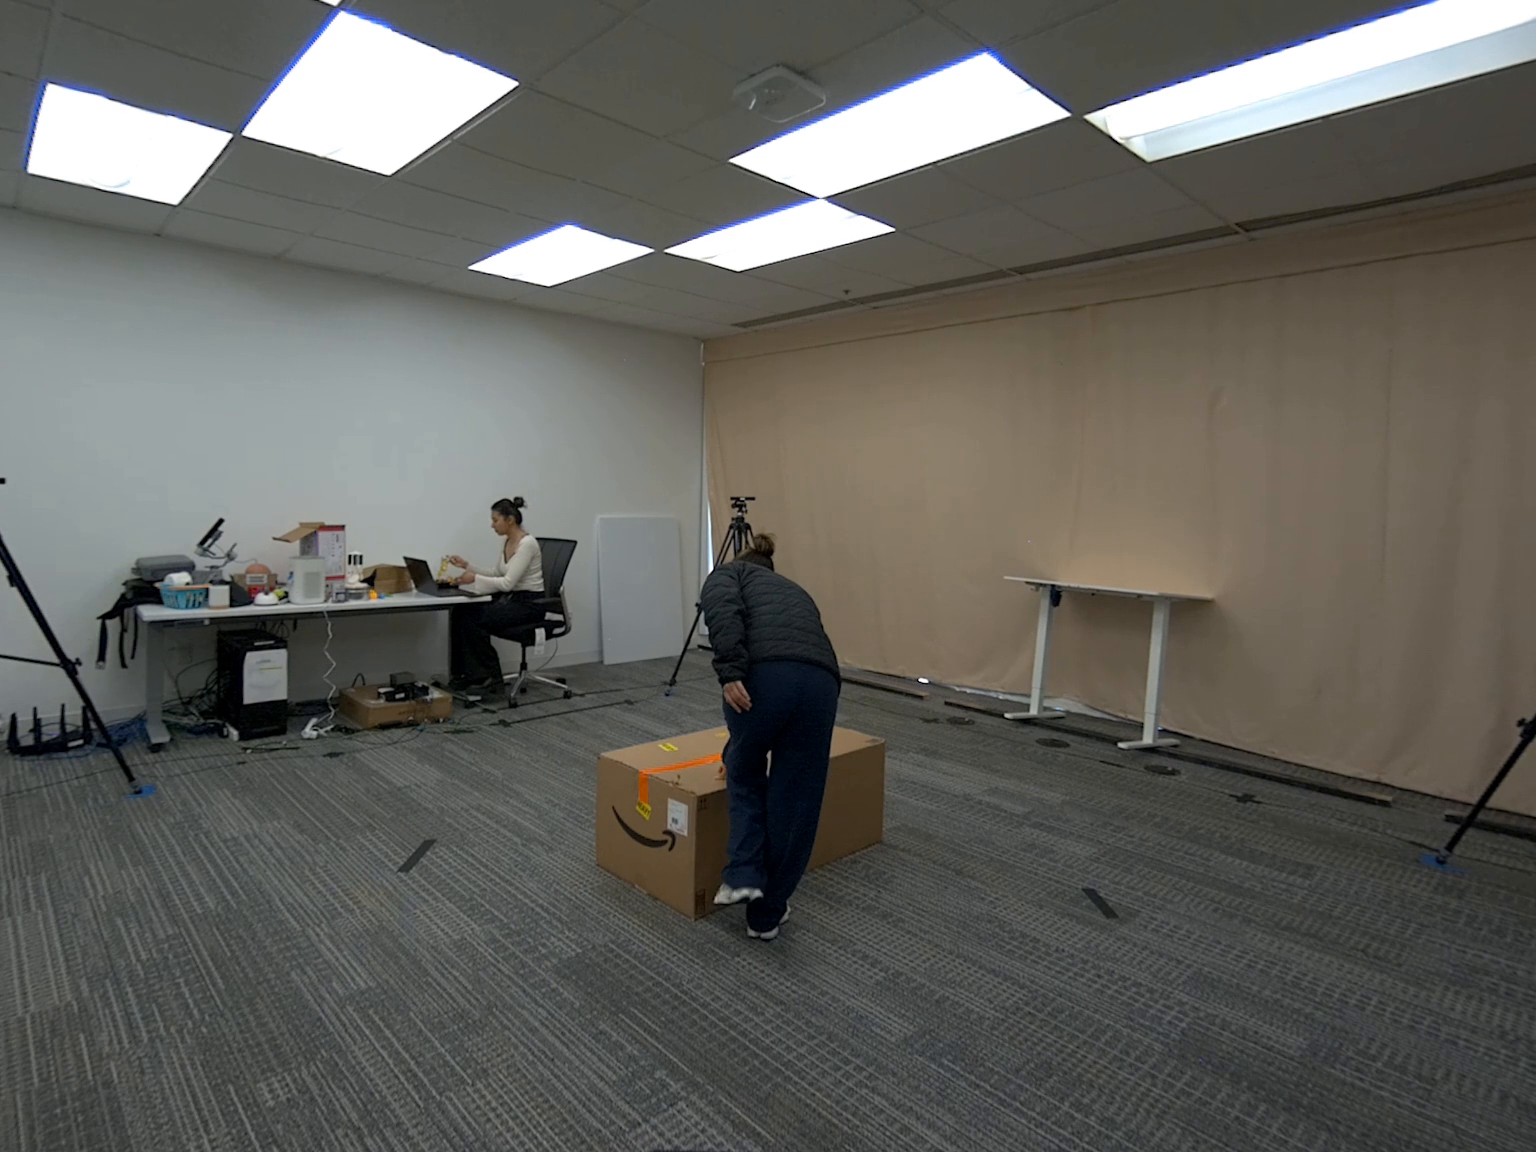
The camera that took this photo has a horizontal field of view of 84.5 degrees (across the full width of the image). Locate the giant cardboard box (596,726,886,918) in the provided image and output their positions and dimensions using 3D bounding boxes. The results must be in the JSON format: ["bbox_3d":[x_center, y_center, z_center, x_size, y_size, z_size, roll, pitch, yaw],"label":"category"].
[{"bbox_3d":[-0.090,0.885,3.297,1.003,0.445,0.599,-3,7,-44],"label":"giant cardboard box"}]
